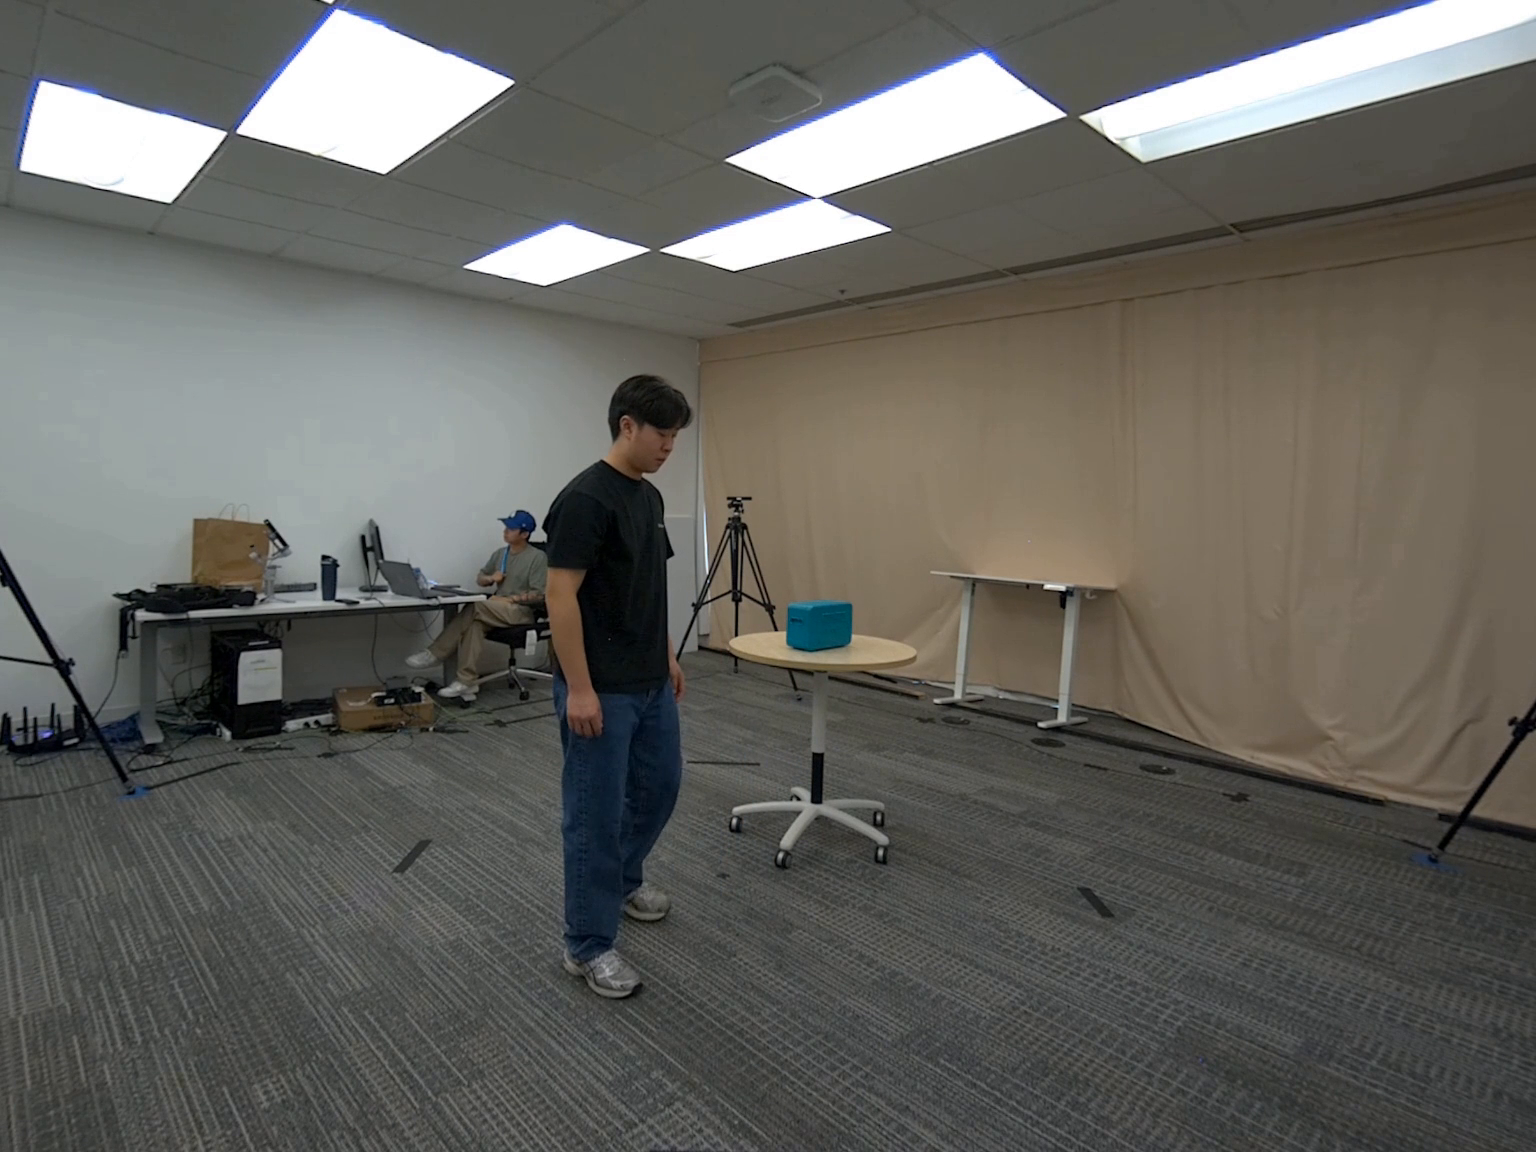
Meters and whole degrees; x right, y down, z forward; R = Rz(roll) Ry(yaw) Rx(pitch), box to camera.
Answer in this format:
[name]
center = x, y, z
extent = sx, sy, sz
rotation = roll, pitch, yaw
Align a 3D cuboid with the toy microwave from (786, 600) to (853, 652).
[toy microwave]
center = 0.203, 0.199, 3.434
extent = 0.156, 0.184, 0.279
rotation = 5, 5, 44
